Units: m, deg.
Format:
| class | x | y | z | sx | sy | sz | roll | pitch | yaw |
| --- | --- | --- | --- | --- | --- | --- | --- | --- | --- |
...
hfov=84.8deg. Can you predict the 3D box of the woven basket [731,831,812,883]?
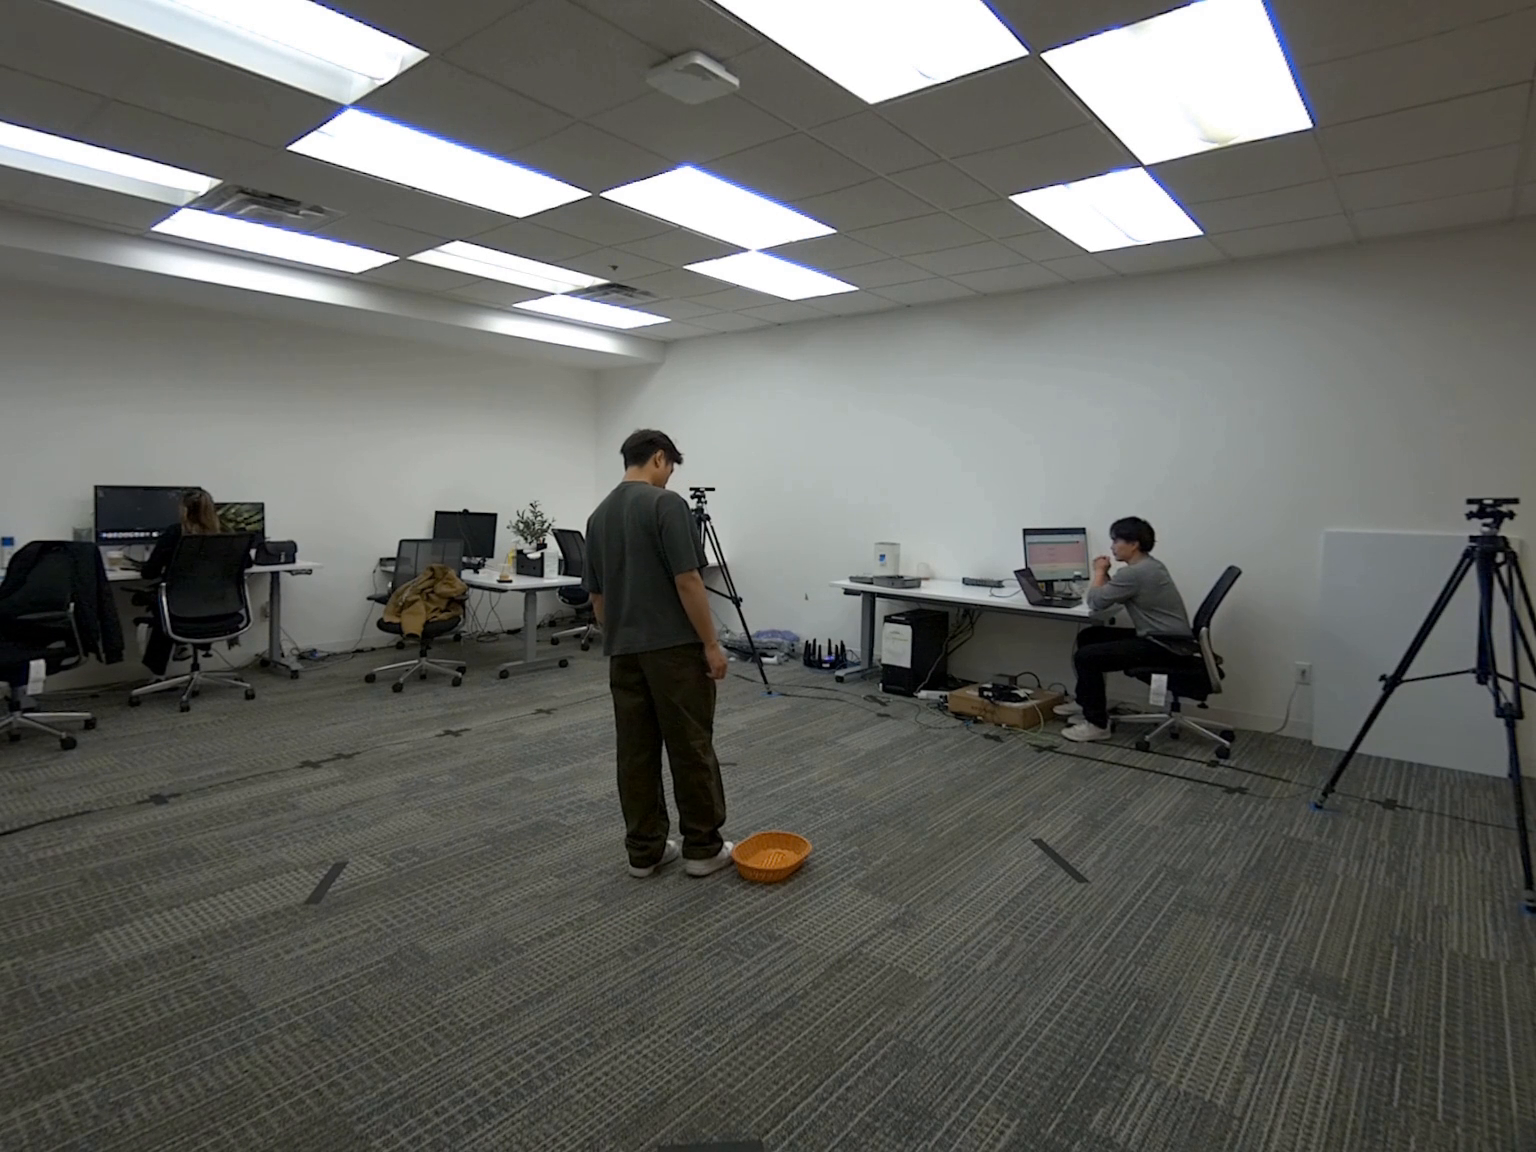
| class | x | y | z | sx | sy | sz | roll | pitch | yaw |
| --- | --- | --- | --- | --- | --- | --- | --- | --- | --- |
| woven basket | 0.004 | 1.033 | 3.129 | 0.260 | 0.073 | 0.341 | 5 | 7 | 34 |
